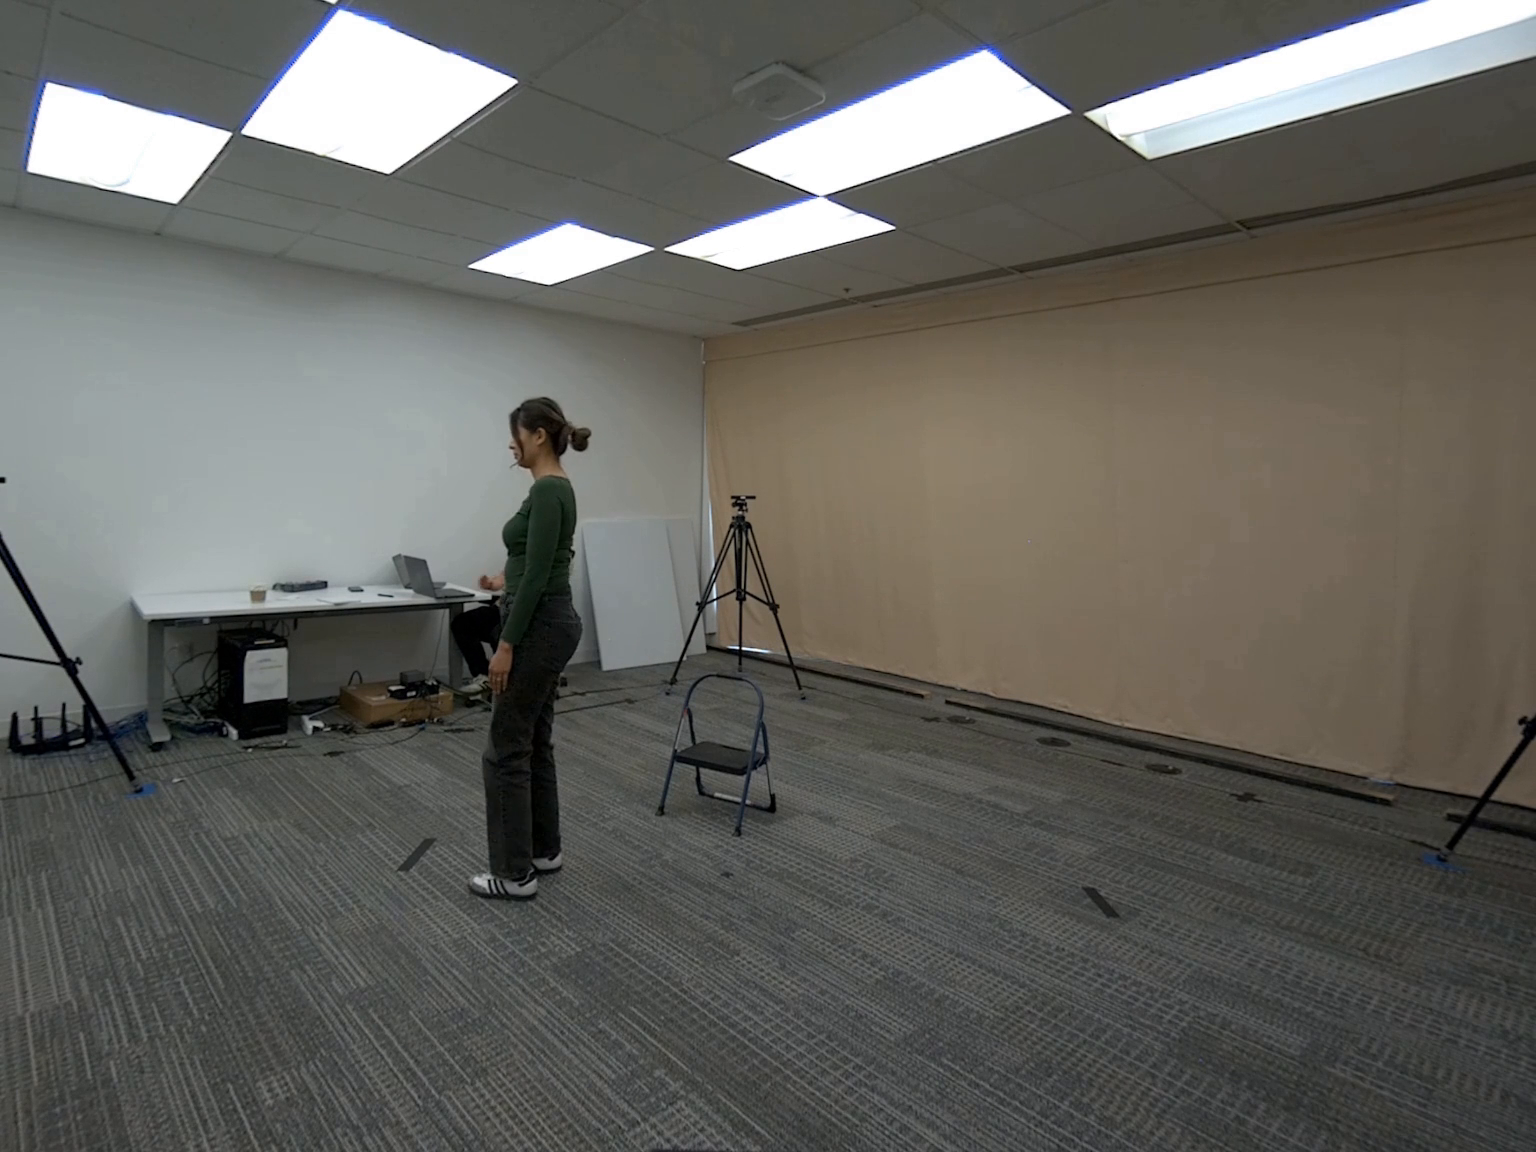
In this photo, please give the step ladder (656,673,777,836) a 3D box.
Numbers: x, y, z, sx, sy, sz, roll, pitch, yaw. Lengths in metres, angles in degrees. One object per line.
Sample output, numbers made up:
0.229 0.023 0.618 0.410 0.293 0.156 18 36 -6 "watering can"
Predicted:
-0.222 0.744 3.693 0.440 0.604 0.342 4 4 30 "step ladder"
